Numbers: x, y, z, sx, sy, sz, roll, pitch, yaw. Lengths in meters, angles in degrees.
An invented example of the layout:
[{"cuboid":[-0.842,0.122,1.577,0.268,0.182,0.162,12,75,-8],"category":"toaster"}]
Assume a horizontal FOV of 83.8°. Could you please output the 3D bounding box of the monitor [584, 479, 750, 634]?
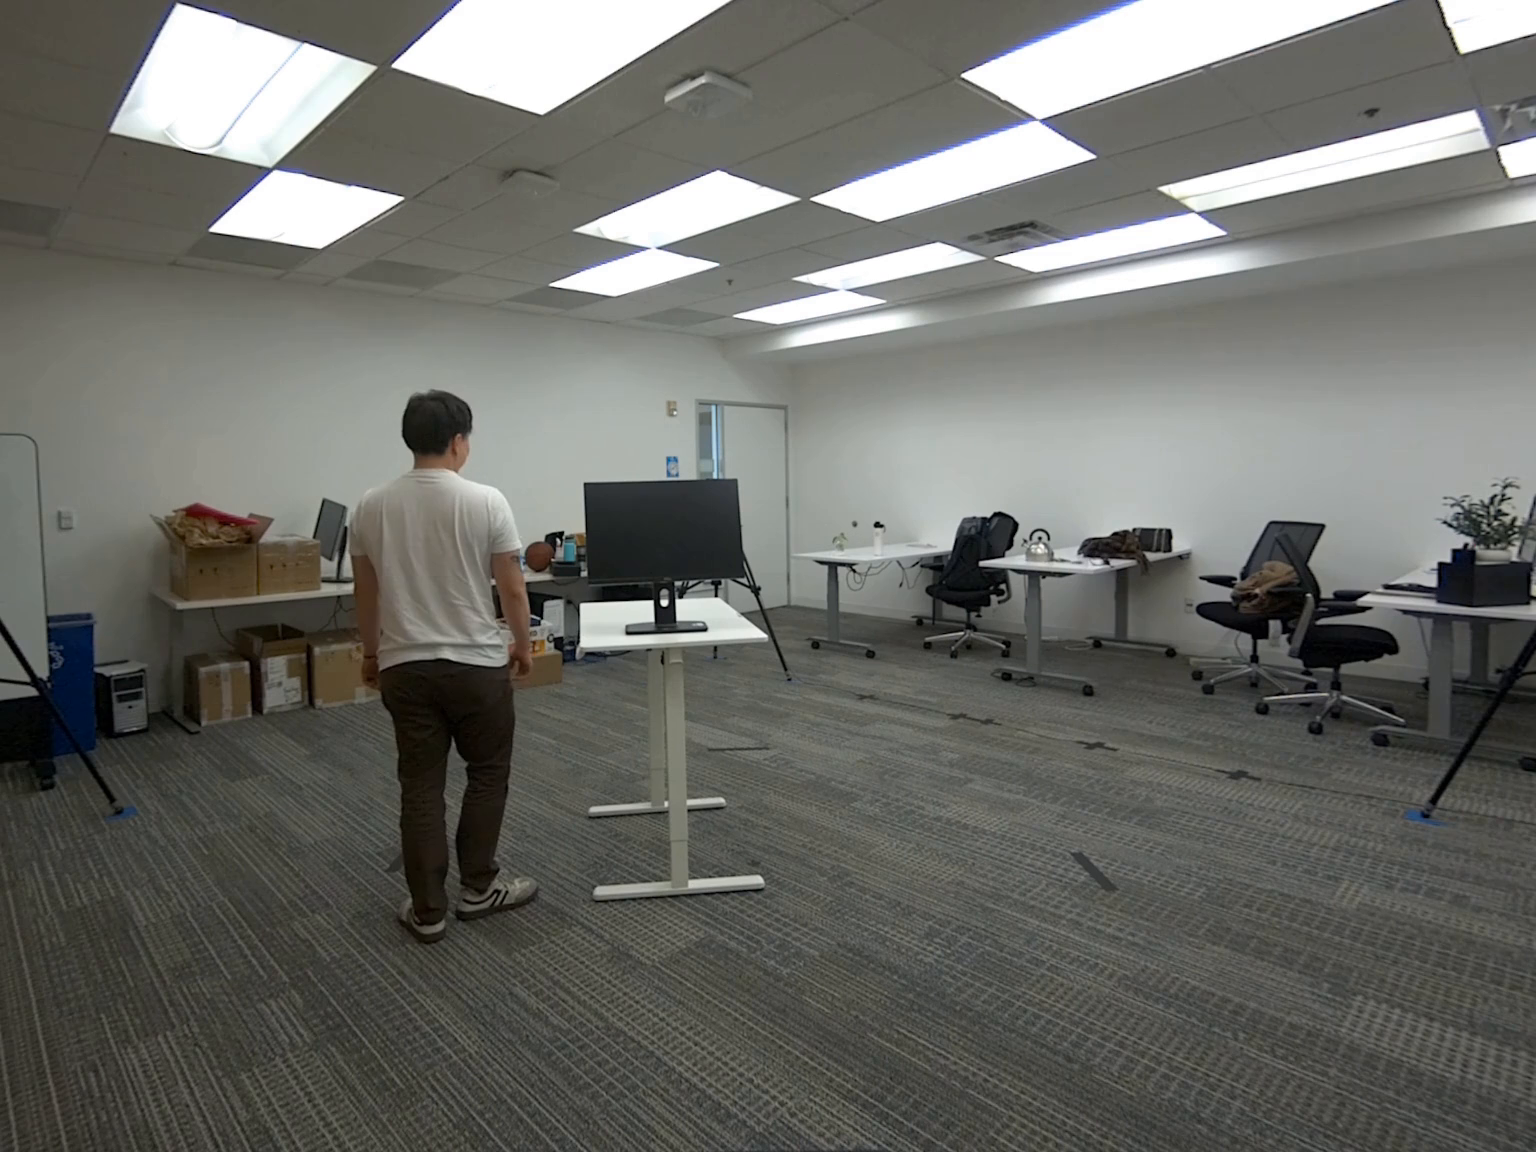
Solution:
[{"cuboid":[-0.363,-0.068,2.953,0.533,0.521,0.190,-3,3,-12],"category":"monitor"}]
